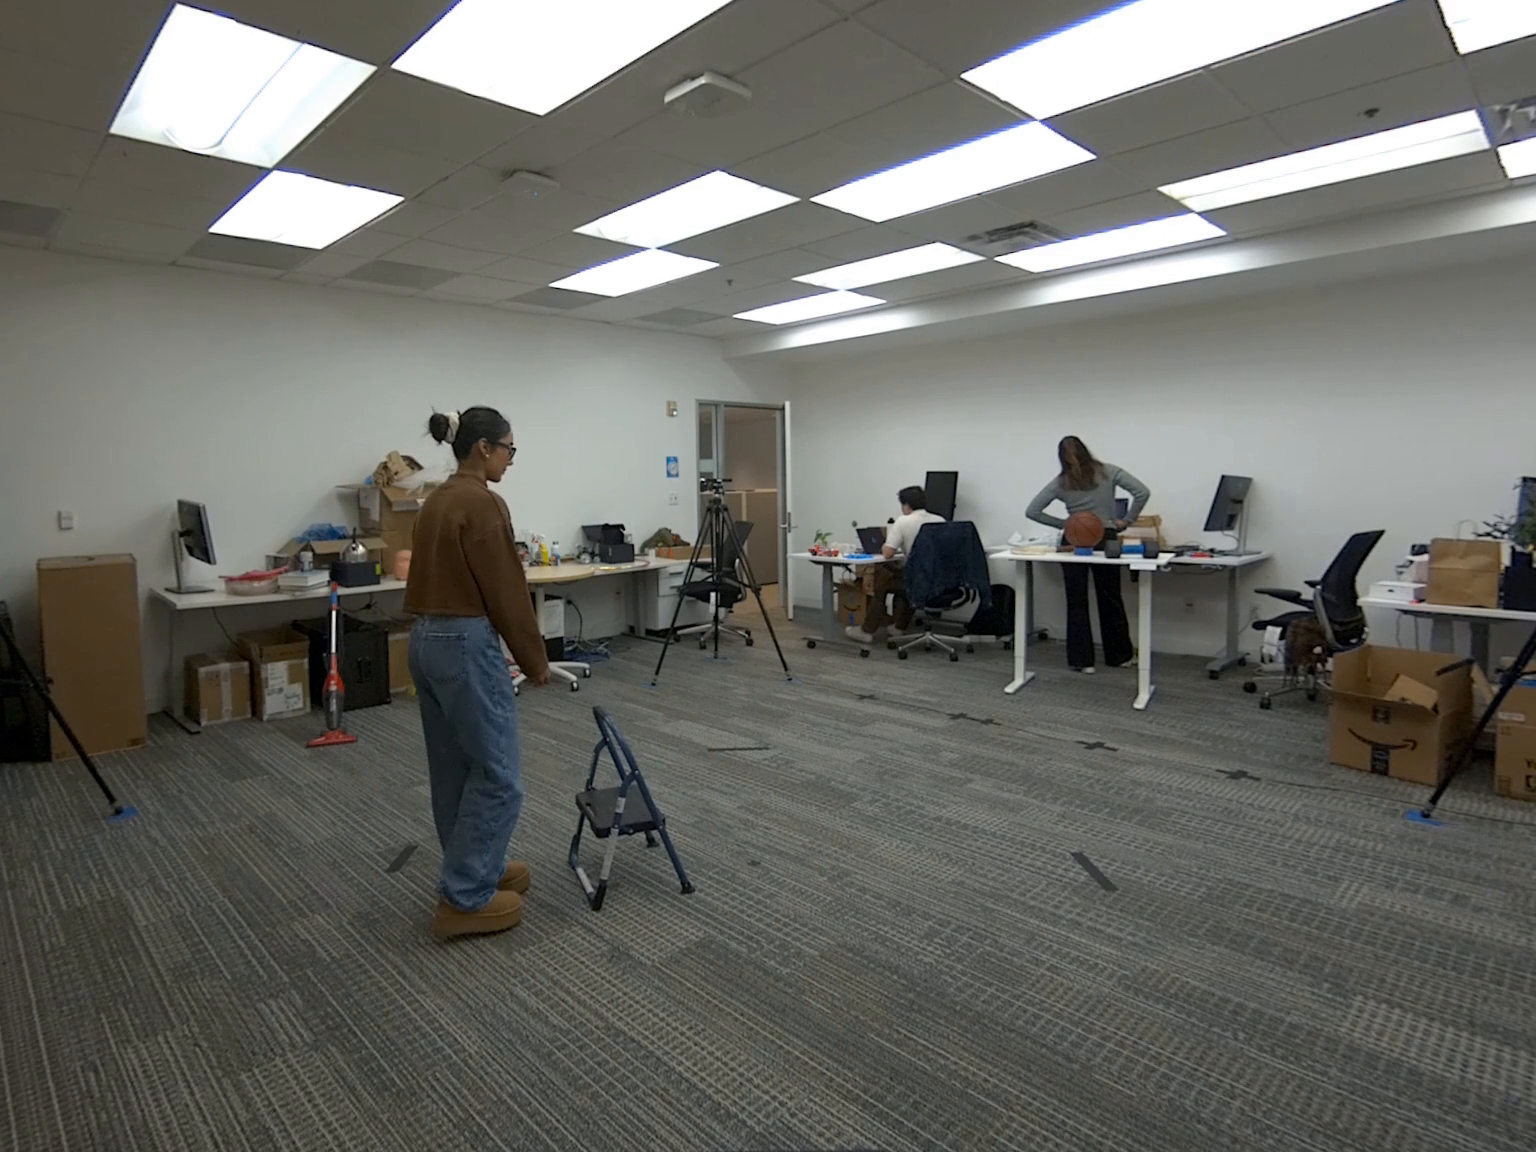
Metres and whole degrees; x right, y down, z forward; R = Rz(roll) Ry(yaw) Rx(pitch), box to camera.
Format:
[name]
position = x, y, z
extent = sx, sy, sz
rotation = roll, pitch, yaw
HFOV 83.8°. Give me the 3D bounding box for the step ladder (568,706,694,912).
[step ladder]
position = -0.497, 0.758, 3.013
extent = 0.342, 0.604, 0.441
rotation = -3, 5, -25
